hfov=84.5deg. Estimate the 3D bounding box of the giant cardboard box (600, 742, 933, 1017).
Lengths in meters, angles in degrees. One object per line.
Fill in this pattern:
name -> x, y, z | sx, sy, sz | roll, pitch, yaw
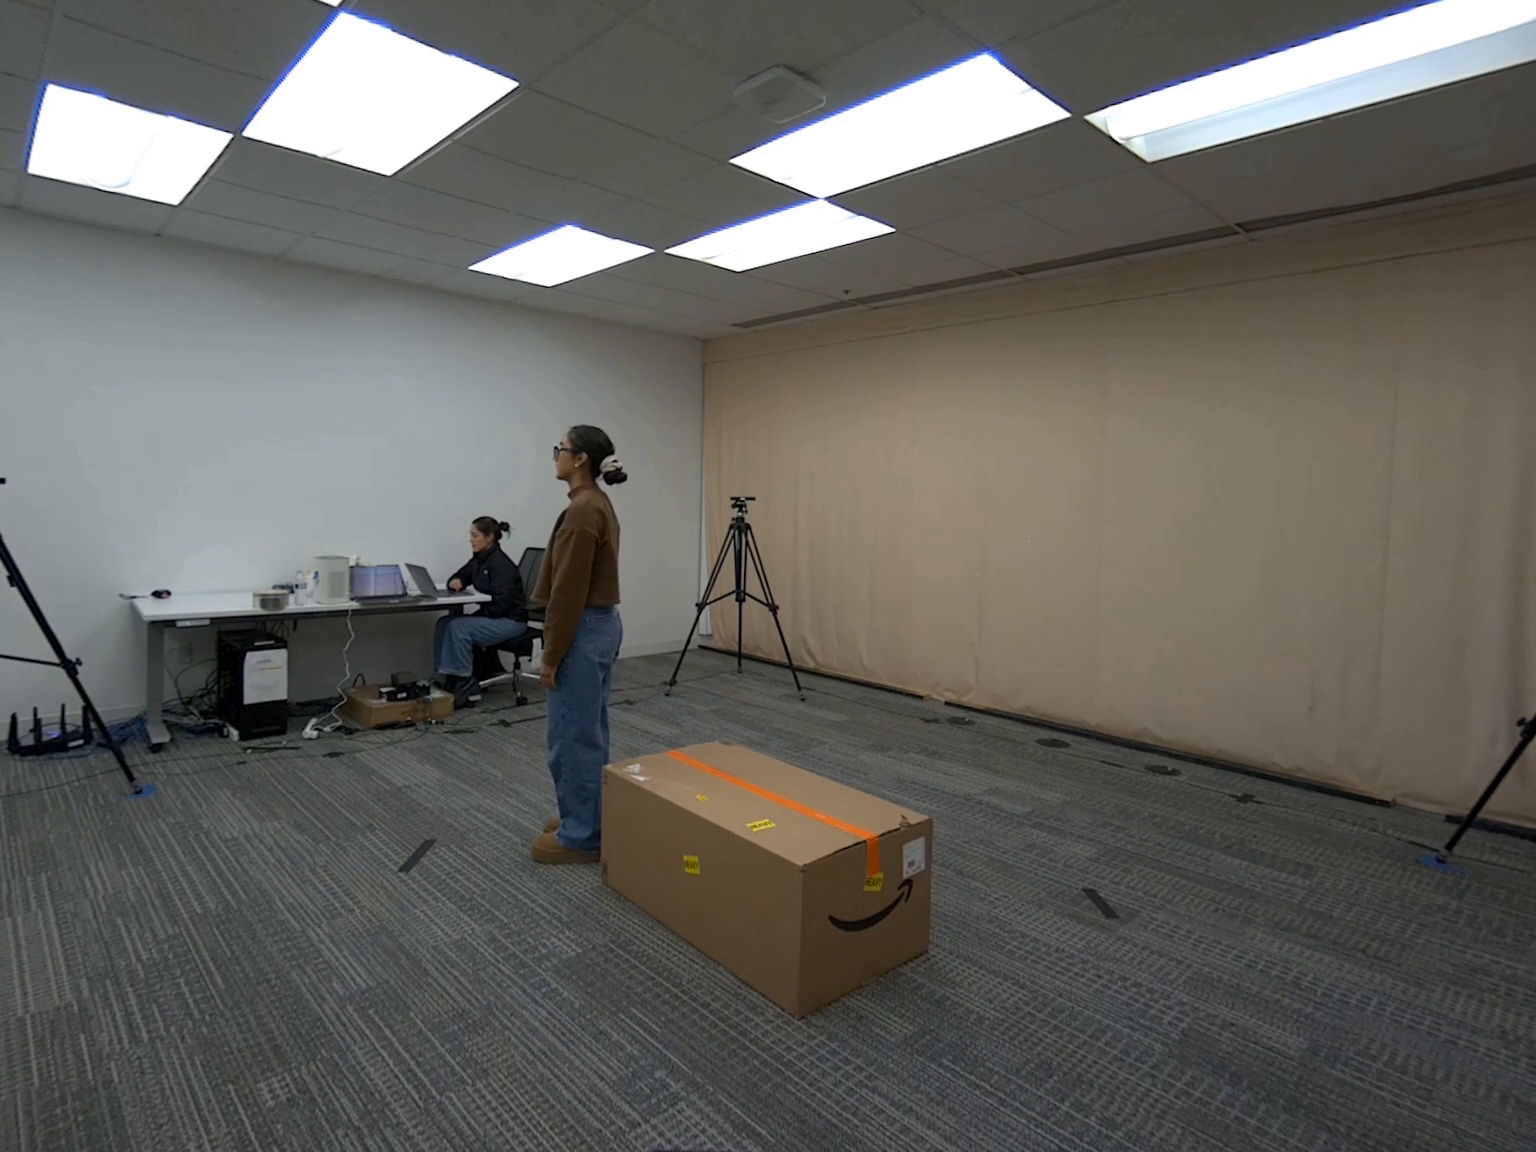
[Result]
giant cardboard box -> -0.049, 0.927, 2.808 | 0.570, 0.446, 1.053 | -1, 5, -41
